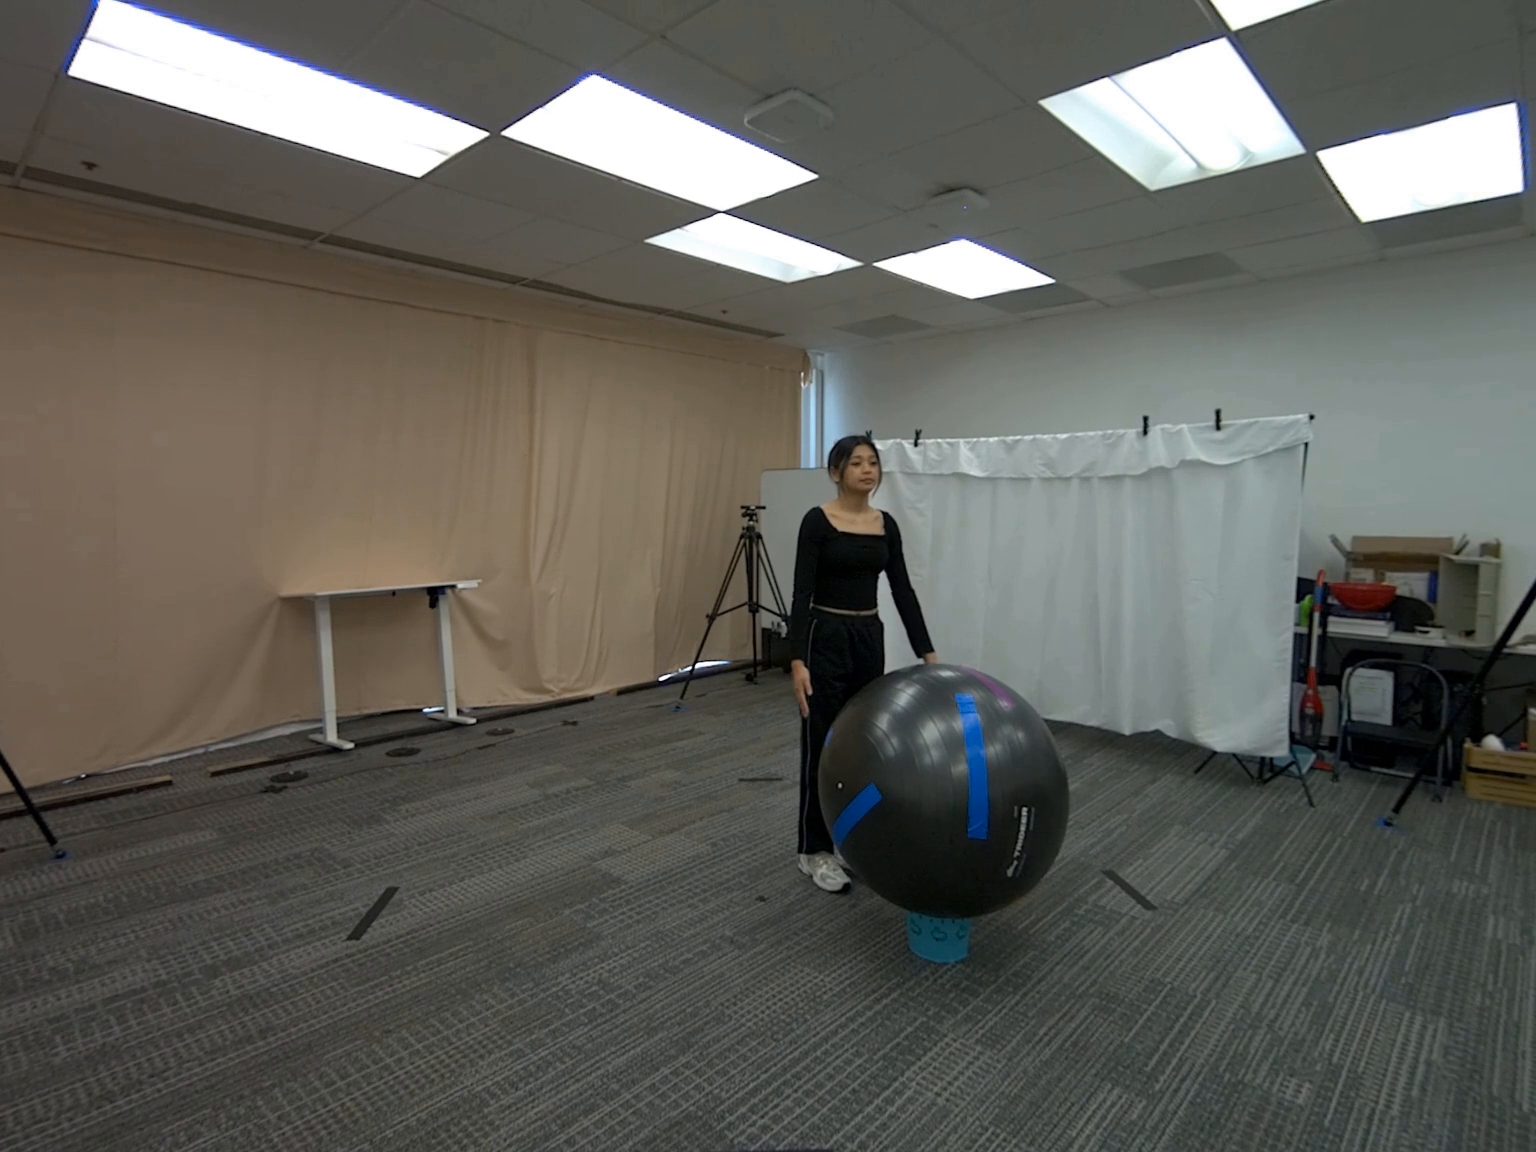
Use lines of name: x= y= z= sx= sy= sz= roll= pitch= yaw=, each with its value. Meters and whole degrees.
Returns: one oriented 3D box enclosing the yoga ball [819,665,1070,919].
yoga ball: x=0.547 y=0.660 z=2.628 sx=0.757 sy=0.756 sz=0.760 roll=0 pitch=4 yaw=-2
